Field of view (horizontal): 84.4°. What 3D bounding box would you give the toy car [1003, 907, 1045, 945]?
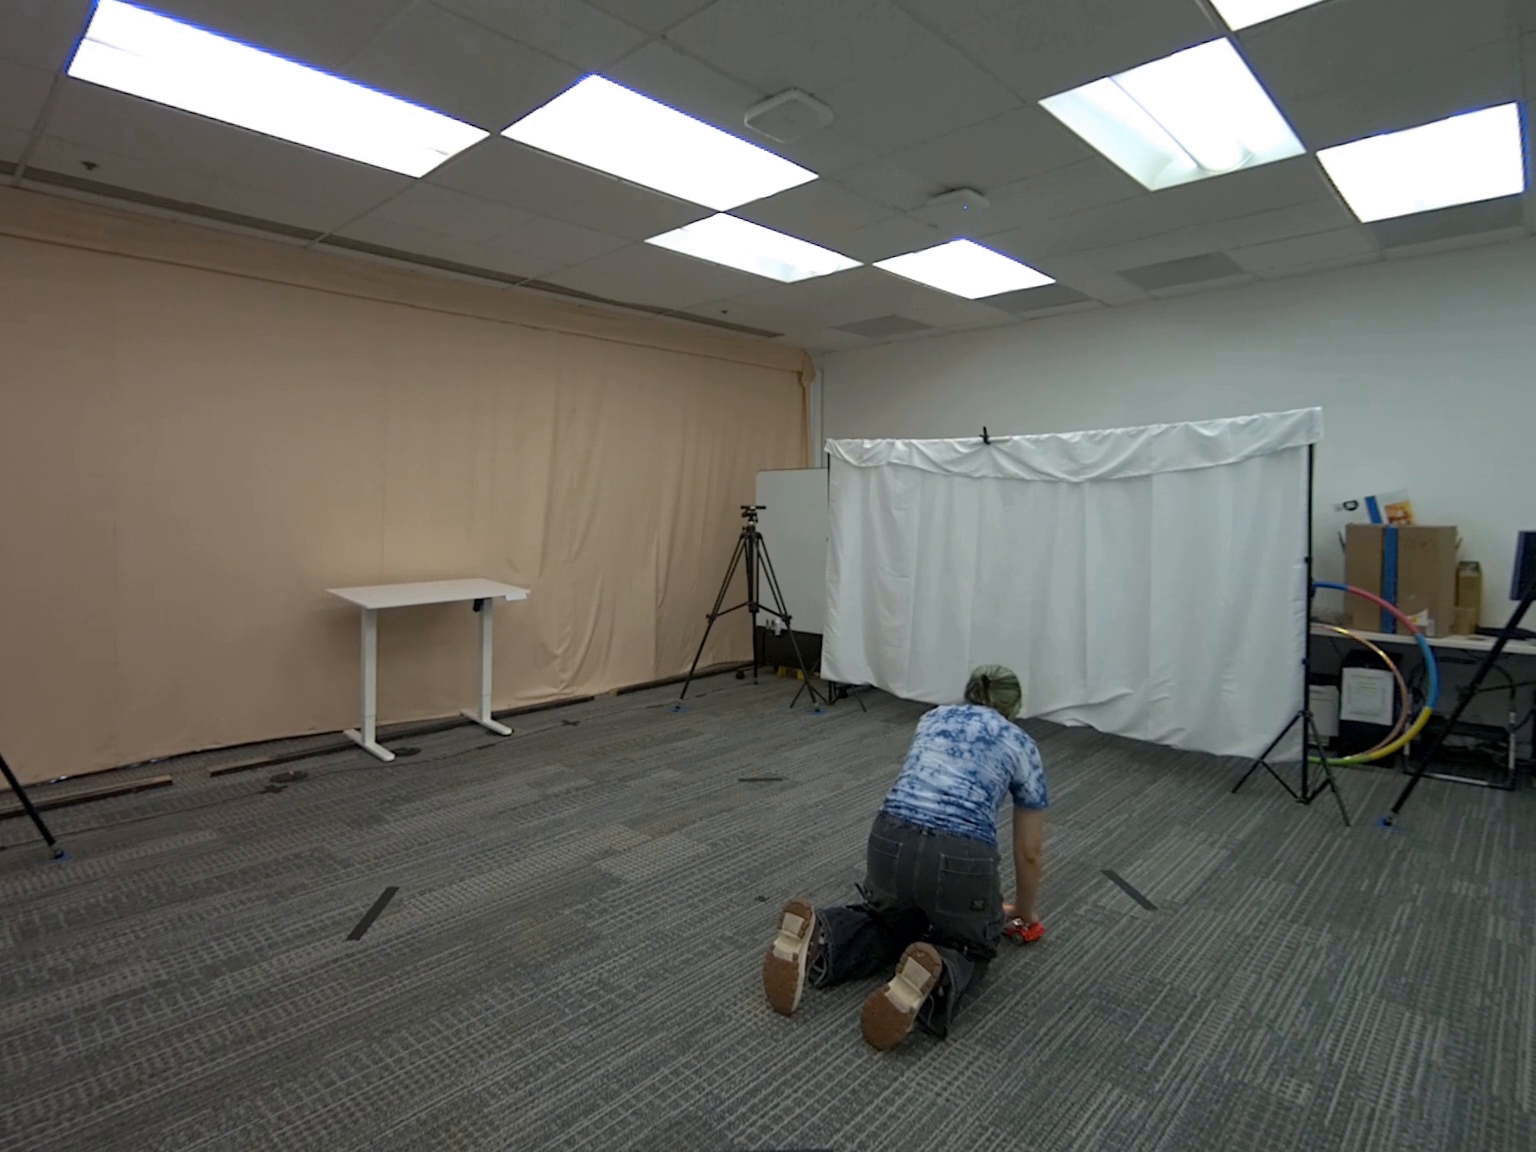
[{"bbox_3d":[0.774,1.129,2.768,0.126,0.083,0.264,0,15,-37],"label":"toy car"}]
